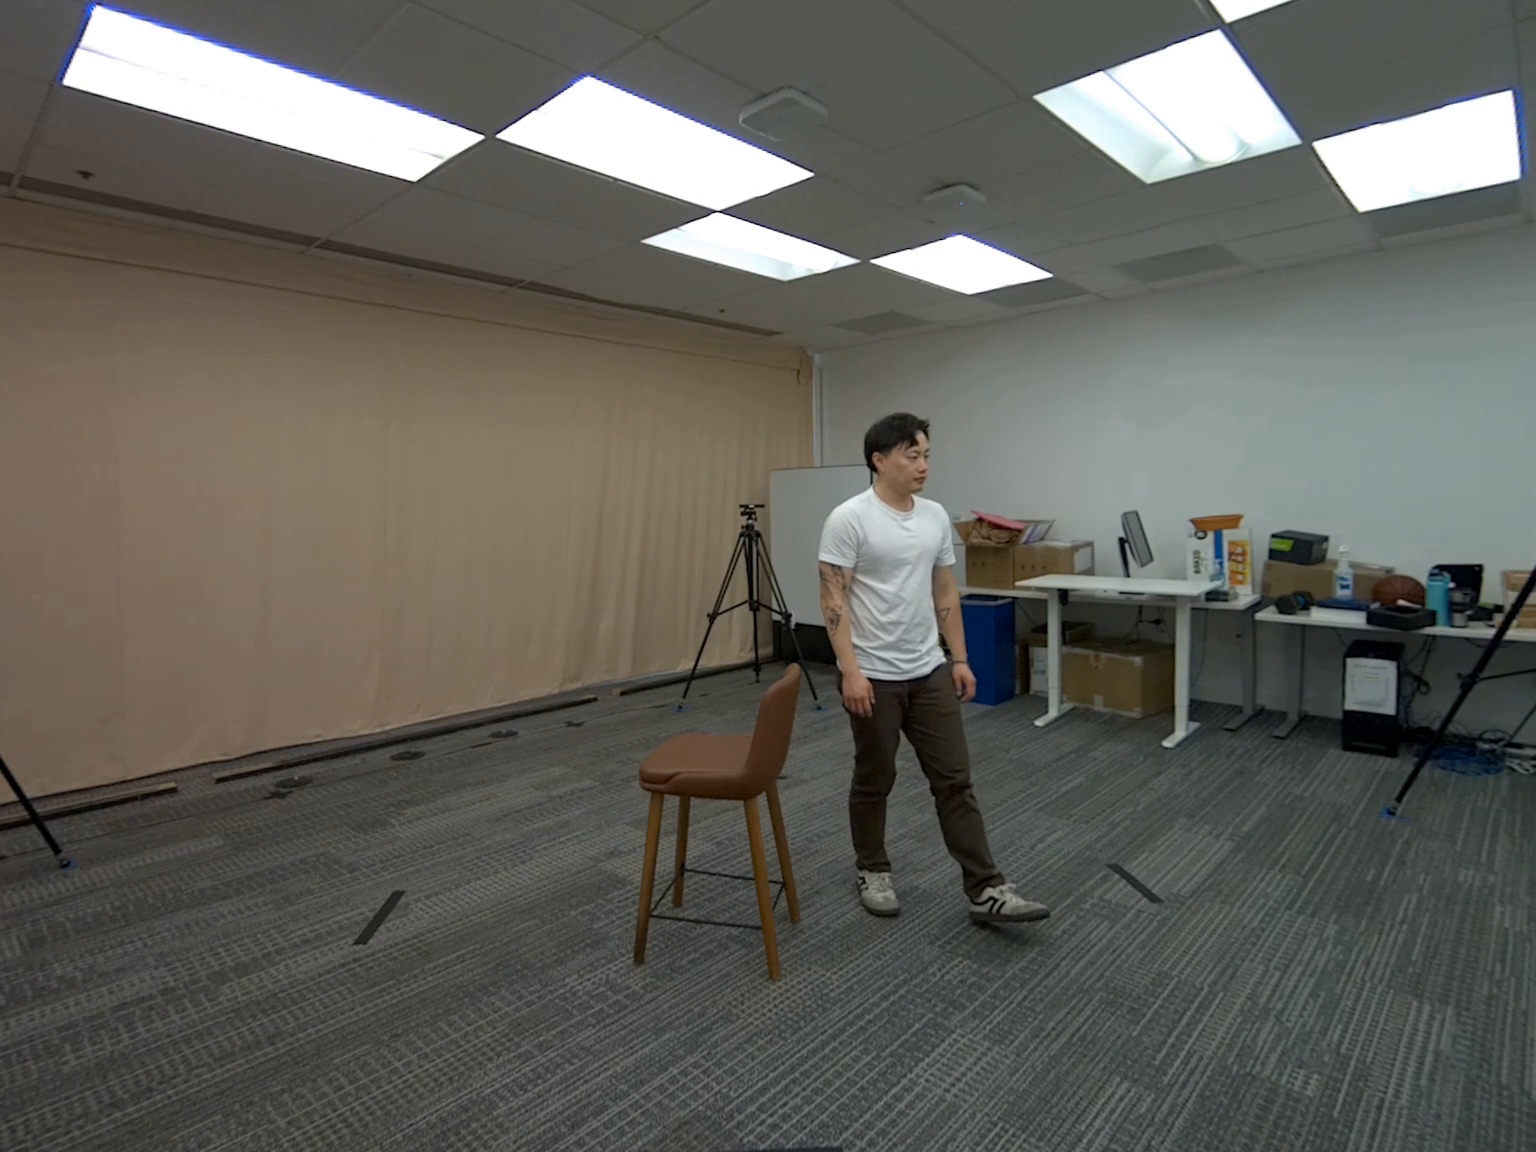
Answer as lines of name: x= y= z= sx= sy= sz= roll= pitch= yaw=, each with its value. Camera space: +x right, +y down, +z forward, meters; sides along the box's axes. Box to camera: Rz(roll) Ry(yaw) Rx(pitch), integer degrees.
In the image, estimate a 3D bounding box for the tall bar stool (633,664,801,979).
tall bar stool: x=-0.149 y=0.736 z=2.666 sx=0.476 sy=0.887 sz=0.450 roll=1 pitch=4 yaw=15
